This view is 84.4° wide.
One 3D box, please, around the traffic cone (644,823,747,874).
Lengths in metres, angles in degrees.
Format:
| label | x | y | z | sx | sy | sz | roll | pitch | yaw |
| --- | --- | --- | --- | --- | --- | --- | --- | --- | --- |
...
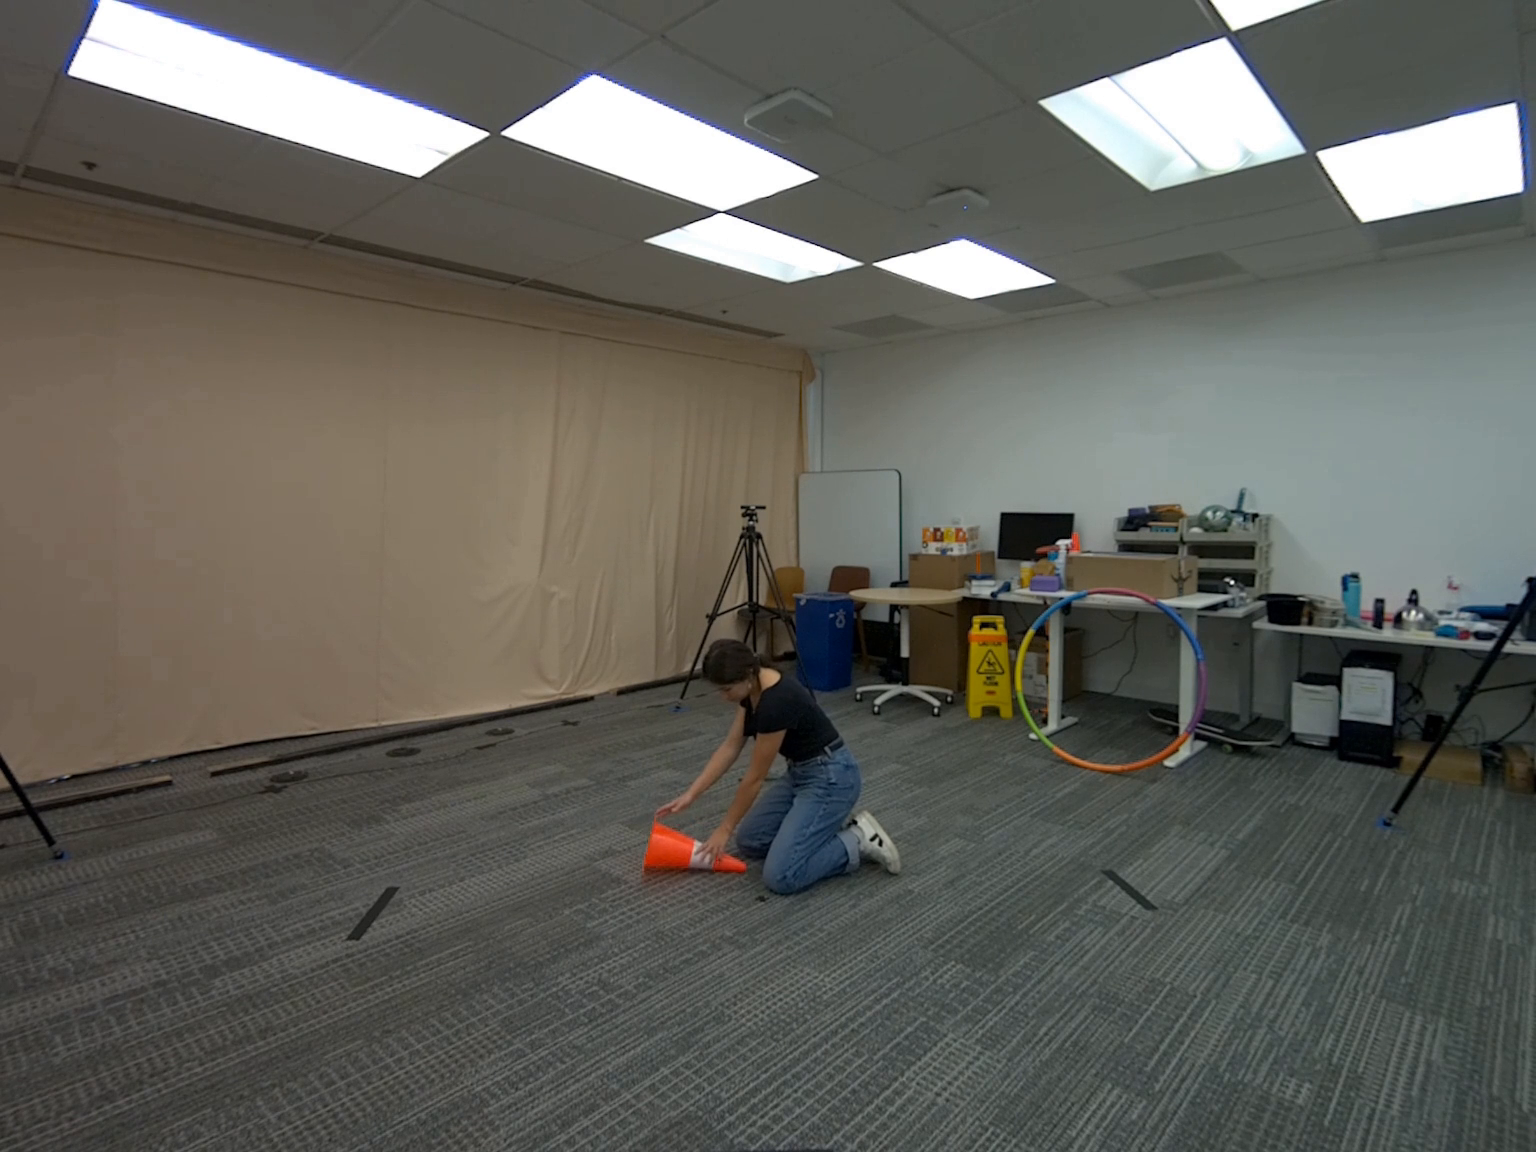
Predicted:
| label | x | y | z | sx | sy | sz | roll | pitch | yaw |
| --- | --- | --- | --- | --- | --- | --- | --- | --- | --- |
| traffic cone | -0.265 | 1.079 | 3.224 | 0.383 | 0.205 | 0.204 | 15 | 2 | -1 |
